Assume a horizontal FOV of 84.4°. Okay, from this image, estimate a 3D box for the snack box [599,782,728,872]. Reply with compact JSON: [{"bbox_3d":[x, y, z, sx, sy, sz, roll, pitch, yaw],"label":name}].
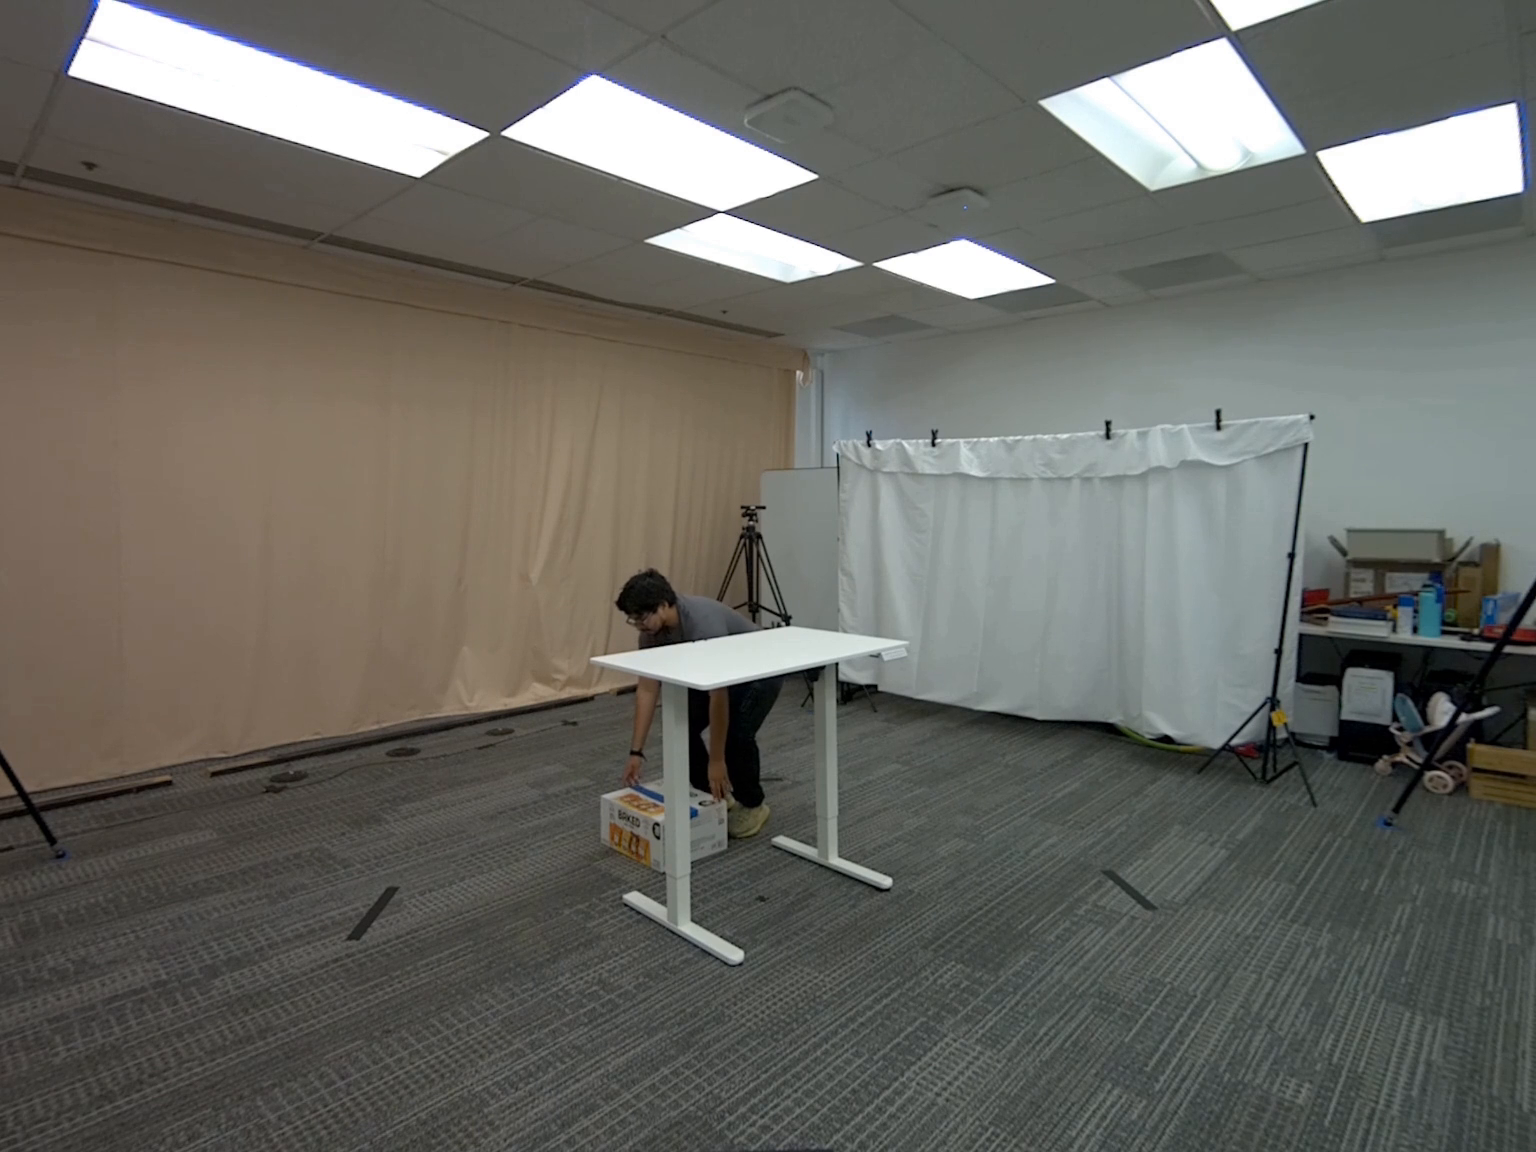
[{"bbox_3d":[-0.428,1.007,3.442,0.330,0.205,0.418,-5,6,-43],"label":"snack box"}]
